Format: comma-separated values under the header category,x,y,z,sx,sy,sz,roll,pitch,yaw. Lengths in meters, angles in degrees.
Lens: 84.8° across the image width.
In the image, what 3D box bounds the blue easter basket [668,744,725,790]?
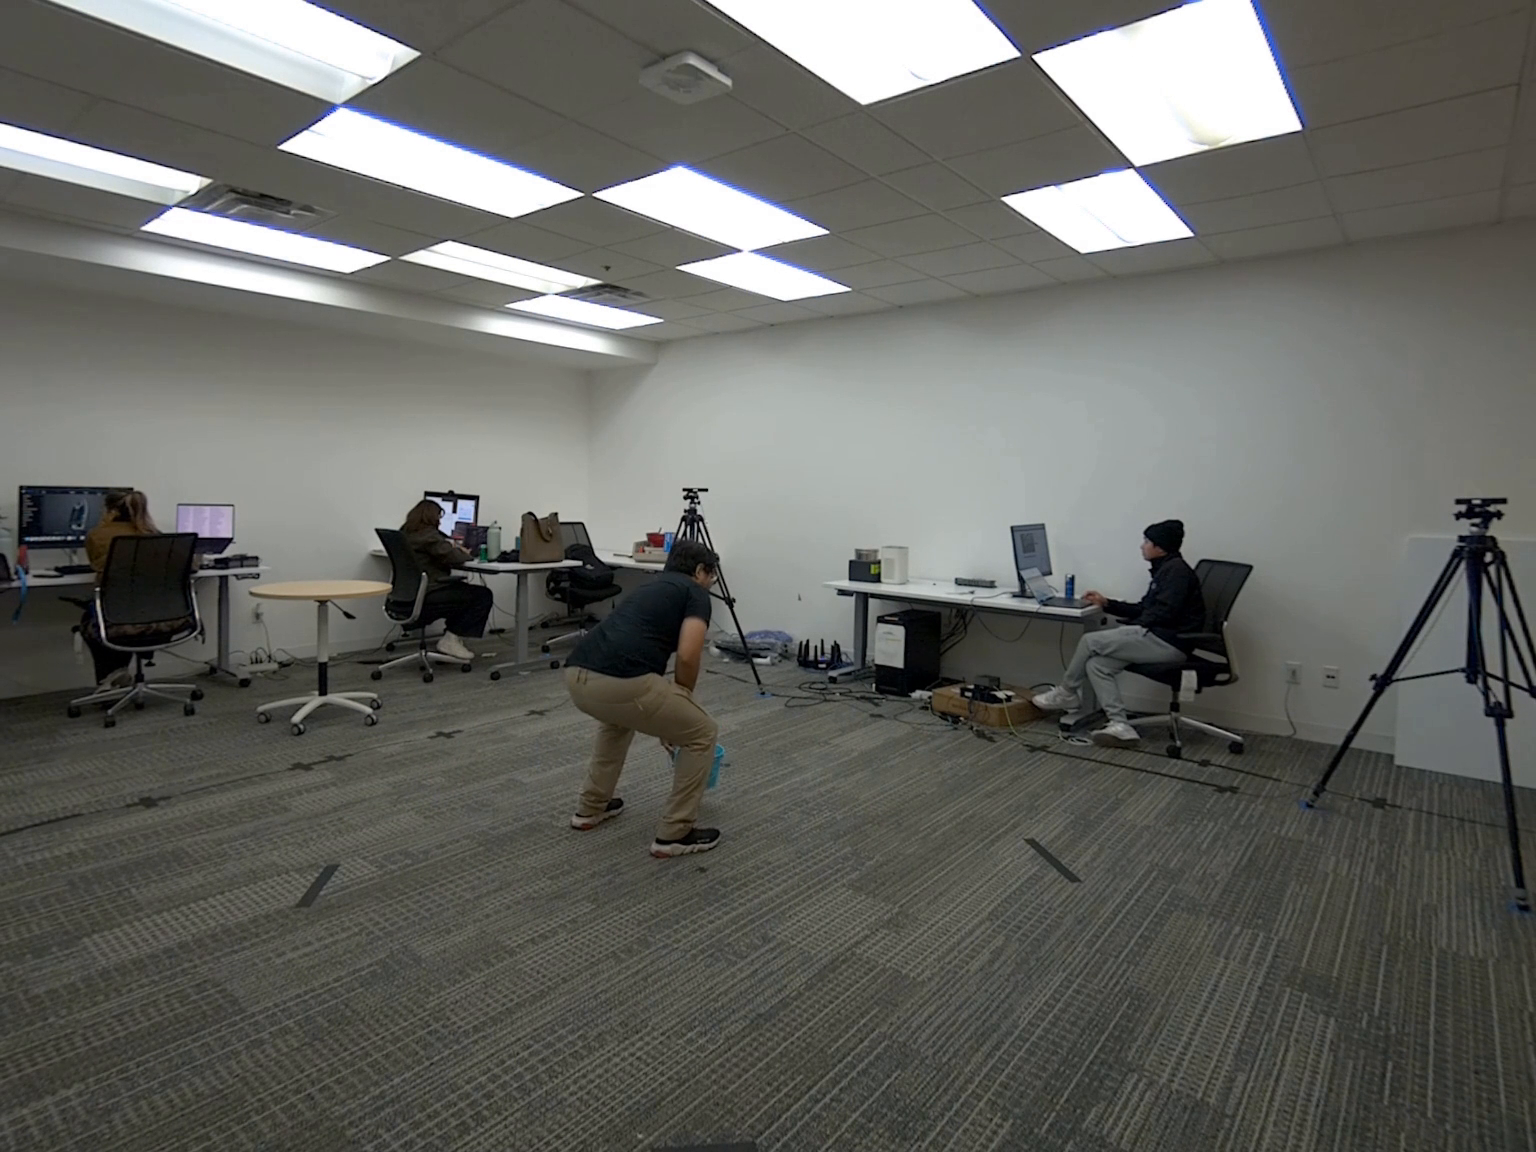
category,x,y,z,sx,sy,sz,roll,pitch,yaw
blue easter basket,-0.327,0.822,3.705,0.243,0.155,0.245,4,7,-2
